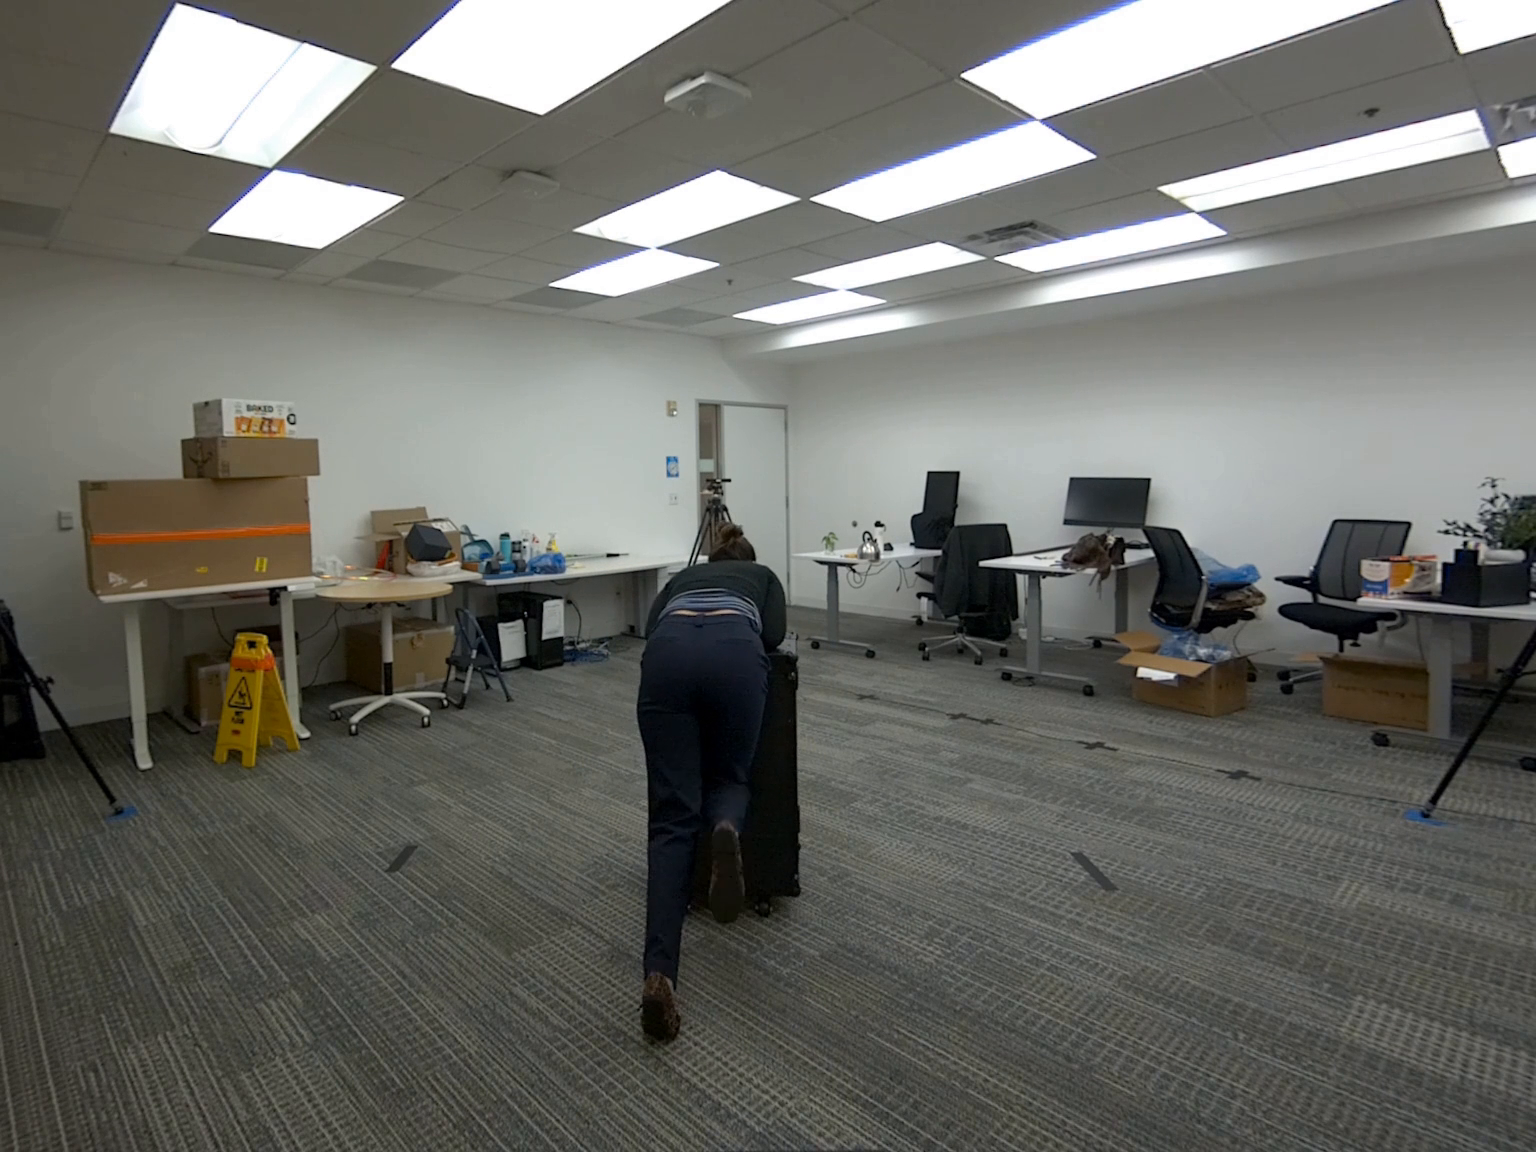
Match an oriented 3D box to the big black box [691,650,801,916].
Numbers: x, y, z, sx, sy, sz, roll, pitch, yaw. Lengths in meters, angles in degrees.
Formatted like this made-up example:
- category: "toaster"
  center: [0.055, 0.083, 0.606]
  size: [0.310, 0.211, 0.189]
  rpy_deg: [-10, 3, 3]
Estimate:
- category: "big black box"
  center: [-0.134, 0.650, 2.868]
  size: [0.524, 0.857, 0.396]
  rpy_deg: [1, 5, 4]
